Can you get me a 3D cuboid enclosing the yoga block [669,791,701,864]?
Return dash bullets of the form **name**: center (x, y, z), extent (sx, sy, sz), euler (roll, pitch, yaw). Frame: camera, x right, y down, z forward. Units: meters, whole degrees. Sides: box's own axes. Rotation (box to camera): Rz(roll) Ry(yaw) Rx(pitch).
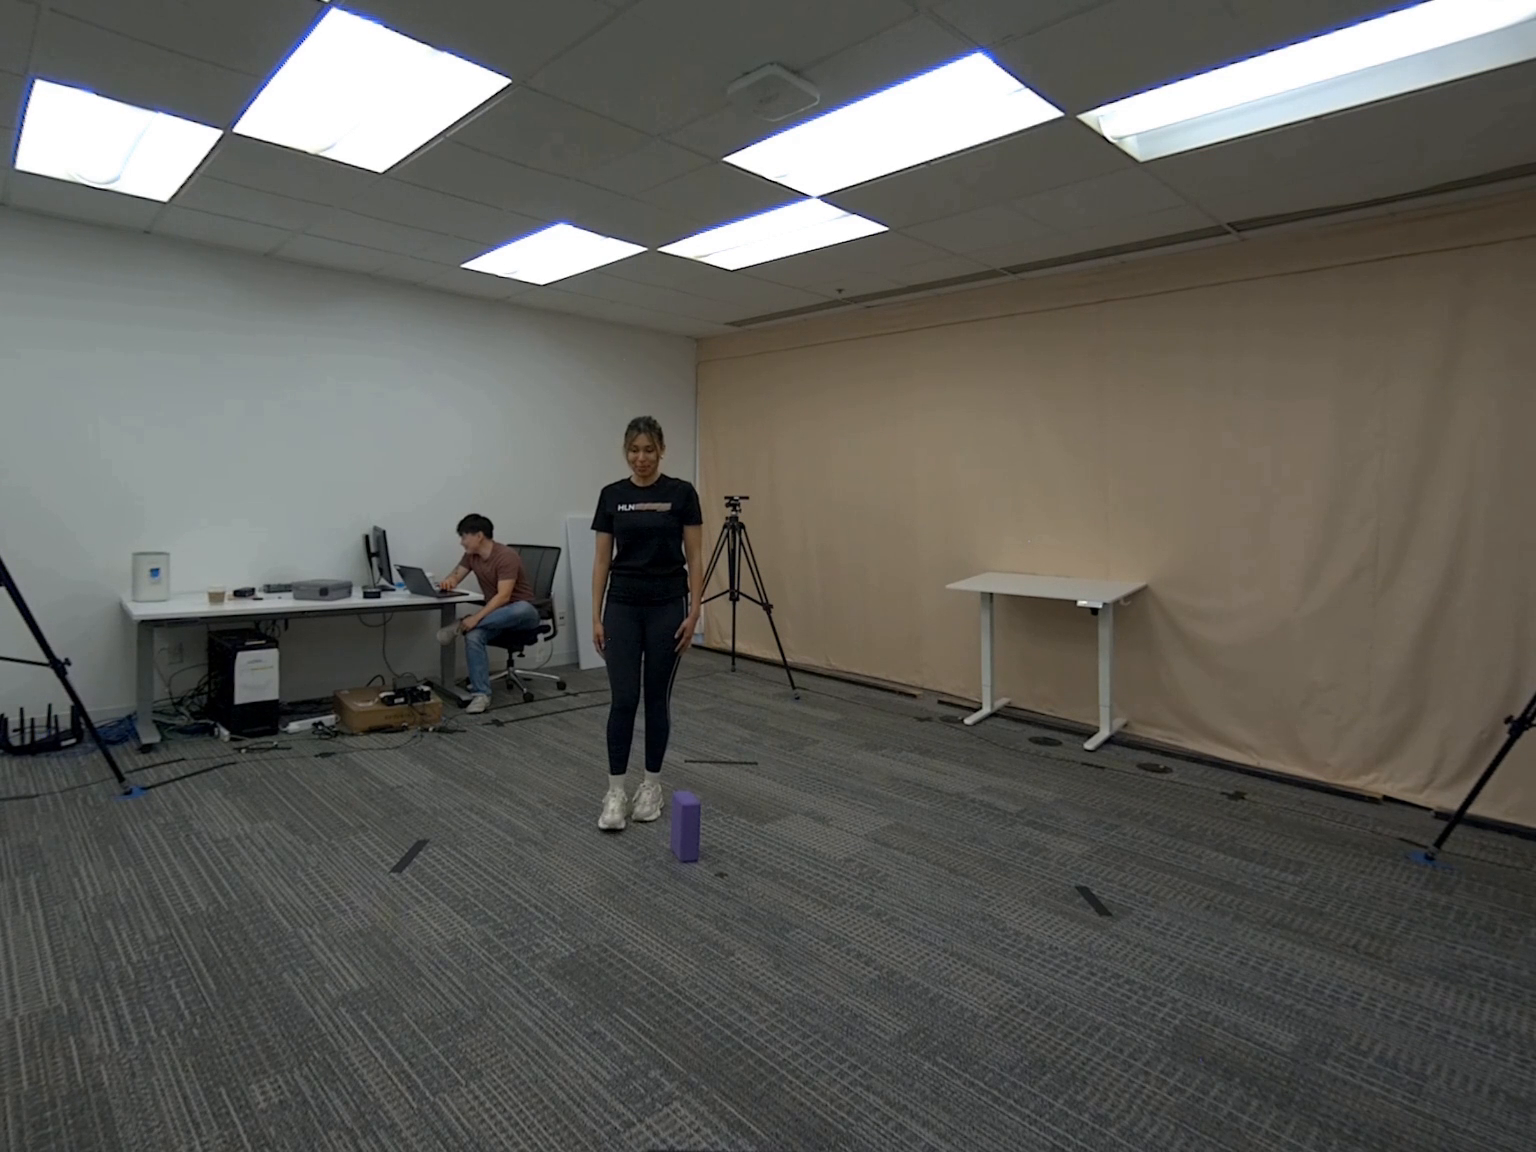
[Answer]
- **yoga block**: center (-0.330, 0.966, 3.263), extent (0.075, 0.229, 0.152), euler (-1, 4, -23)
